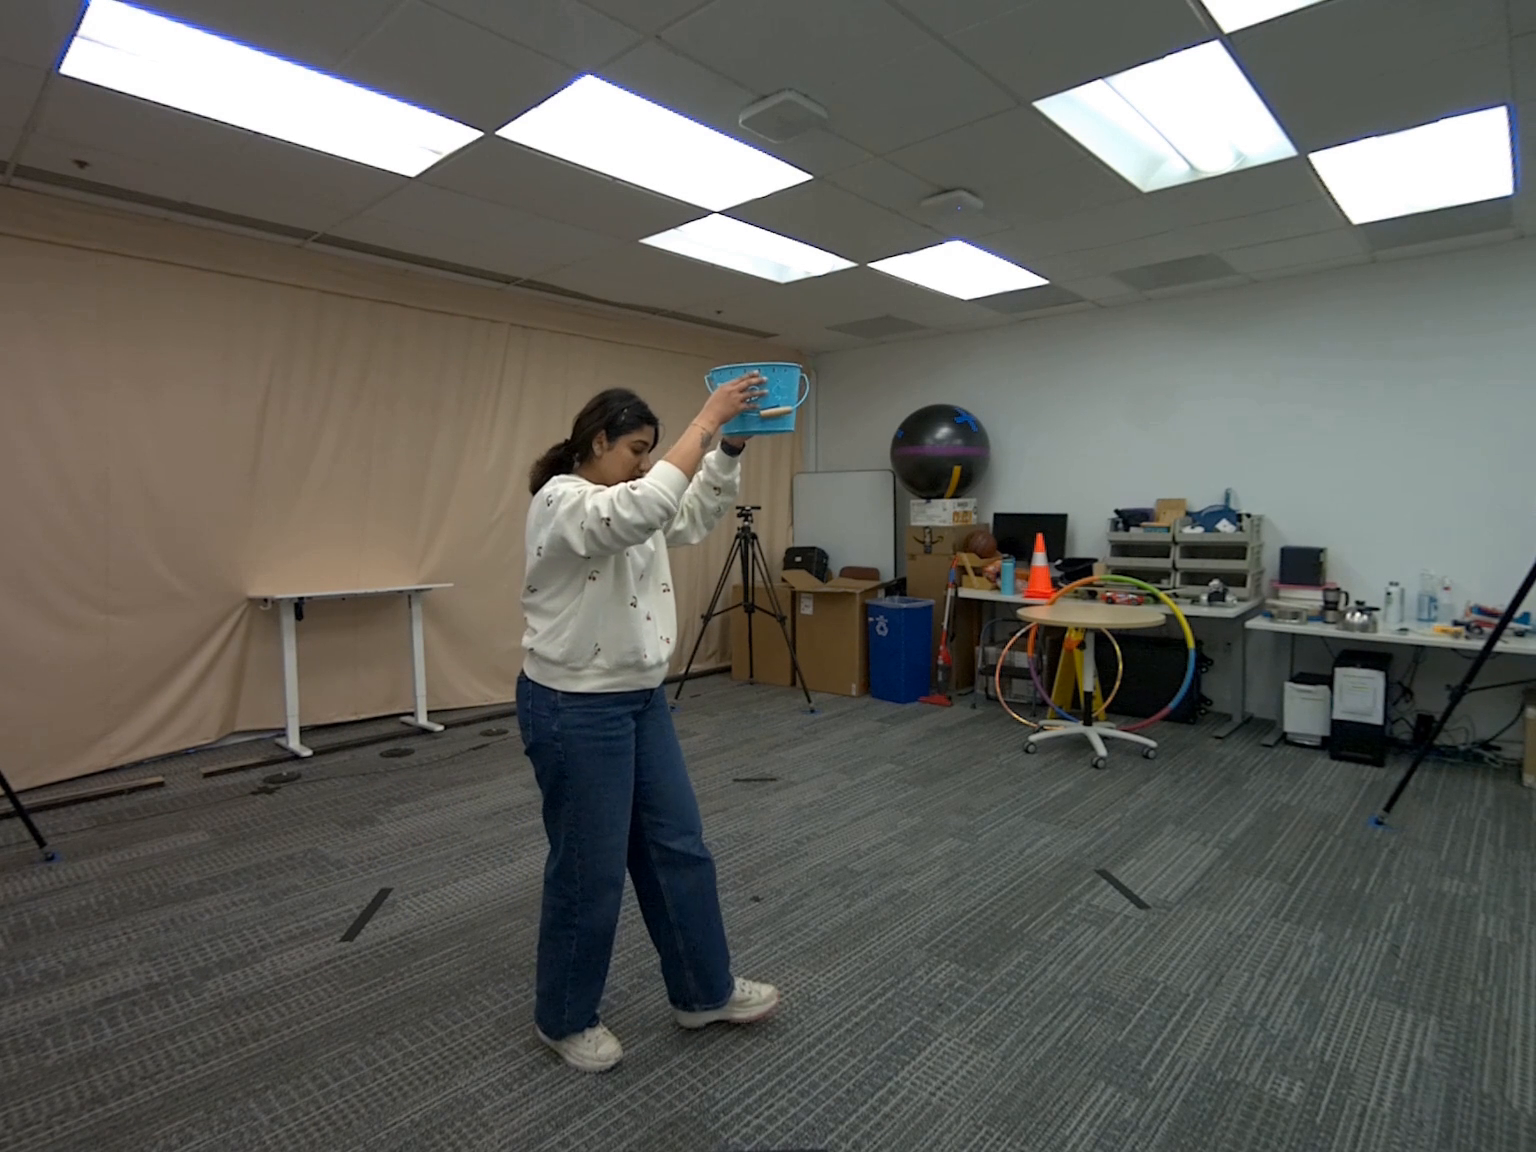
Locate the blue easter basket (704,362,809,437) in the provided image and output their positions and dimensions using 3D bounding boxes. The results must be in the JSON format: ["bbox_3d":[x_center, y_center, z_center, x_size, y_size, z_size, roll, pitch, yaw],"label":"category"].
[{"bbox_3d":[-0.025,-0.433,2.030,0.243,0.155,0.244,-2,4,-2],"label":"blue easter basket"}]
